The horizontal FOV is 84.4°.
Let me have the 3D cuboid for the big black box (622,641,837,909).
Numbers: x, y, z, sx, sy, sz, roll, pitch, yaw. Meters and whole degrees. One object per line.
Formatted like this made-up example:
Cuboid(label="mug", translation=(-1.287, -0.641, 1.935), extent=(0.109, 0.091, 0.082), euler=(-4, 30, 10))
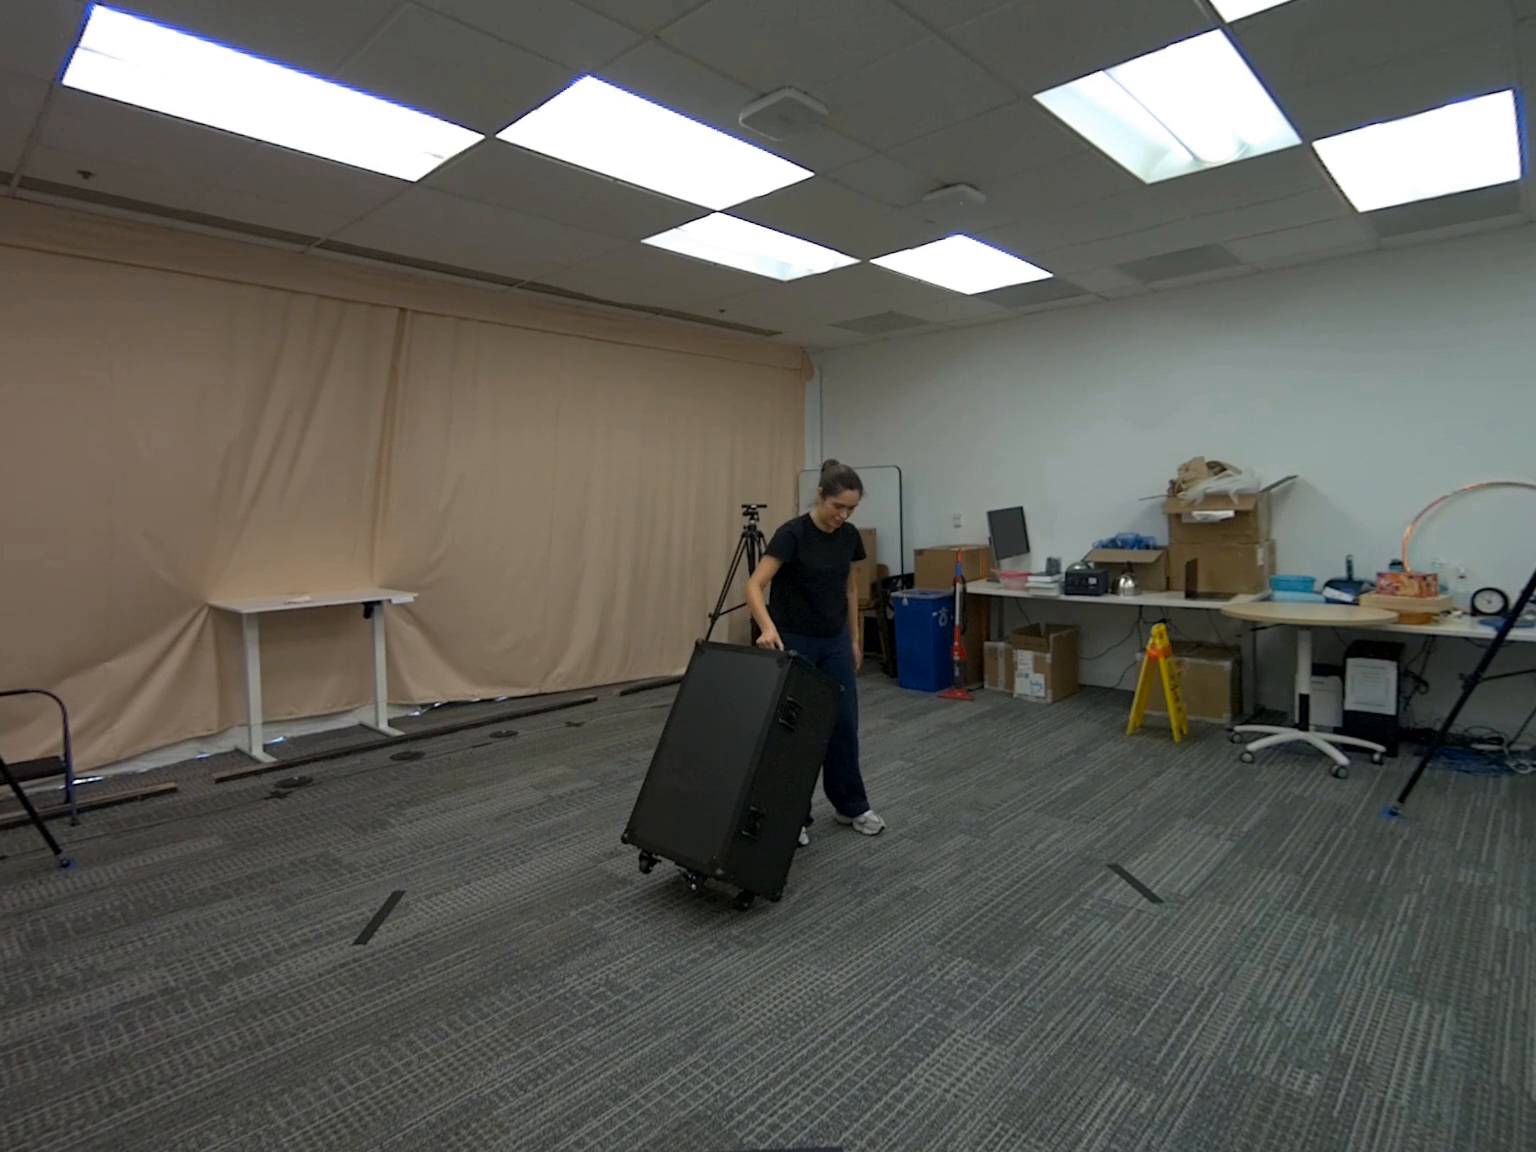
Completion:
Cuboid(label="big black box", translation=(-0.116, 0.707, 3.045), extent=(0.538, 0.865, 0.382), euler=(2, -25, 42))
